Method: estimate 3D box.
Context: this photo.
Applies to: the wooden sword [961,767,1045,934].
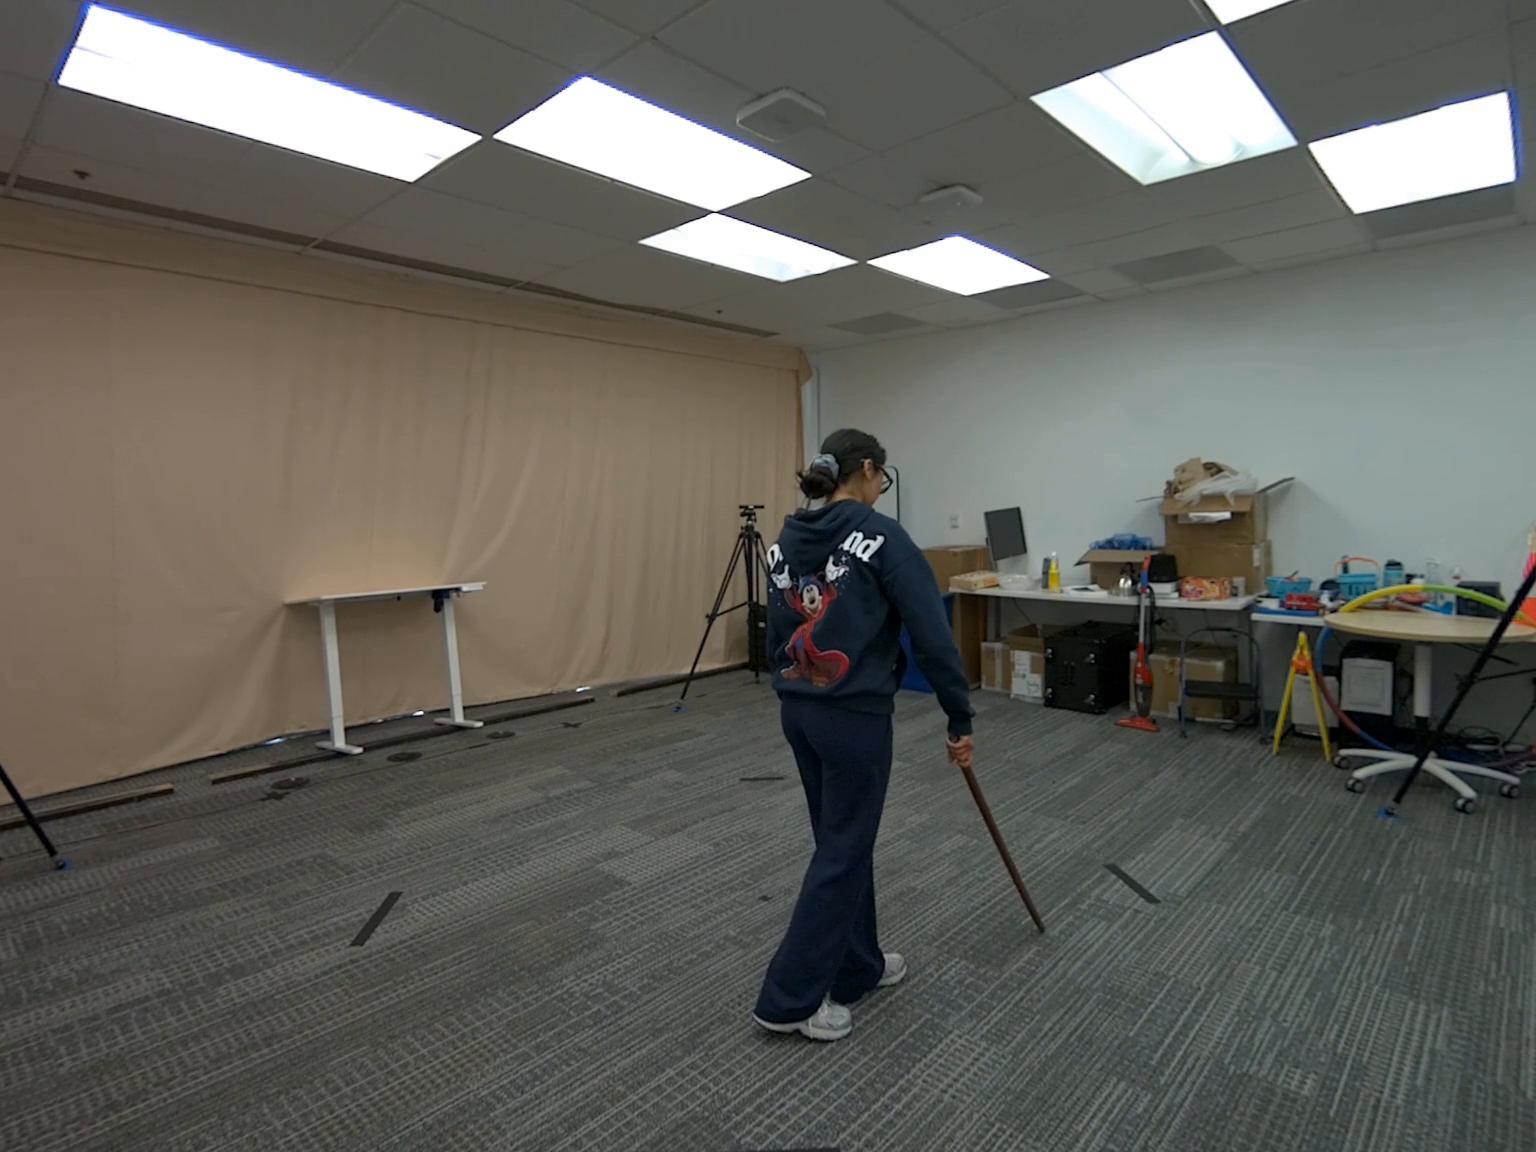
[{"bbox_3d":[0.690,0.806,2.442,0.053,0.994,0.024,9,50,44],"label":"wooden sword"}]
